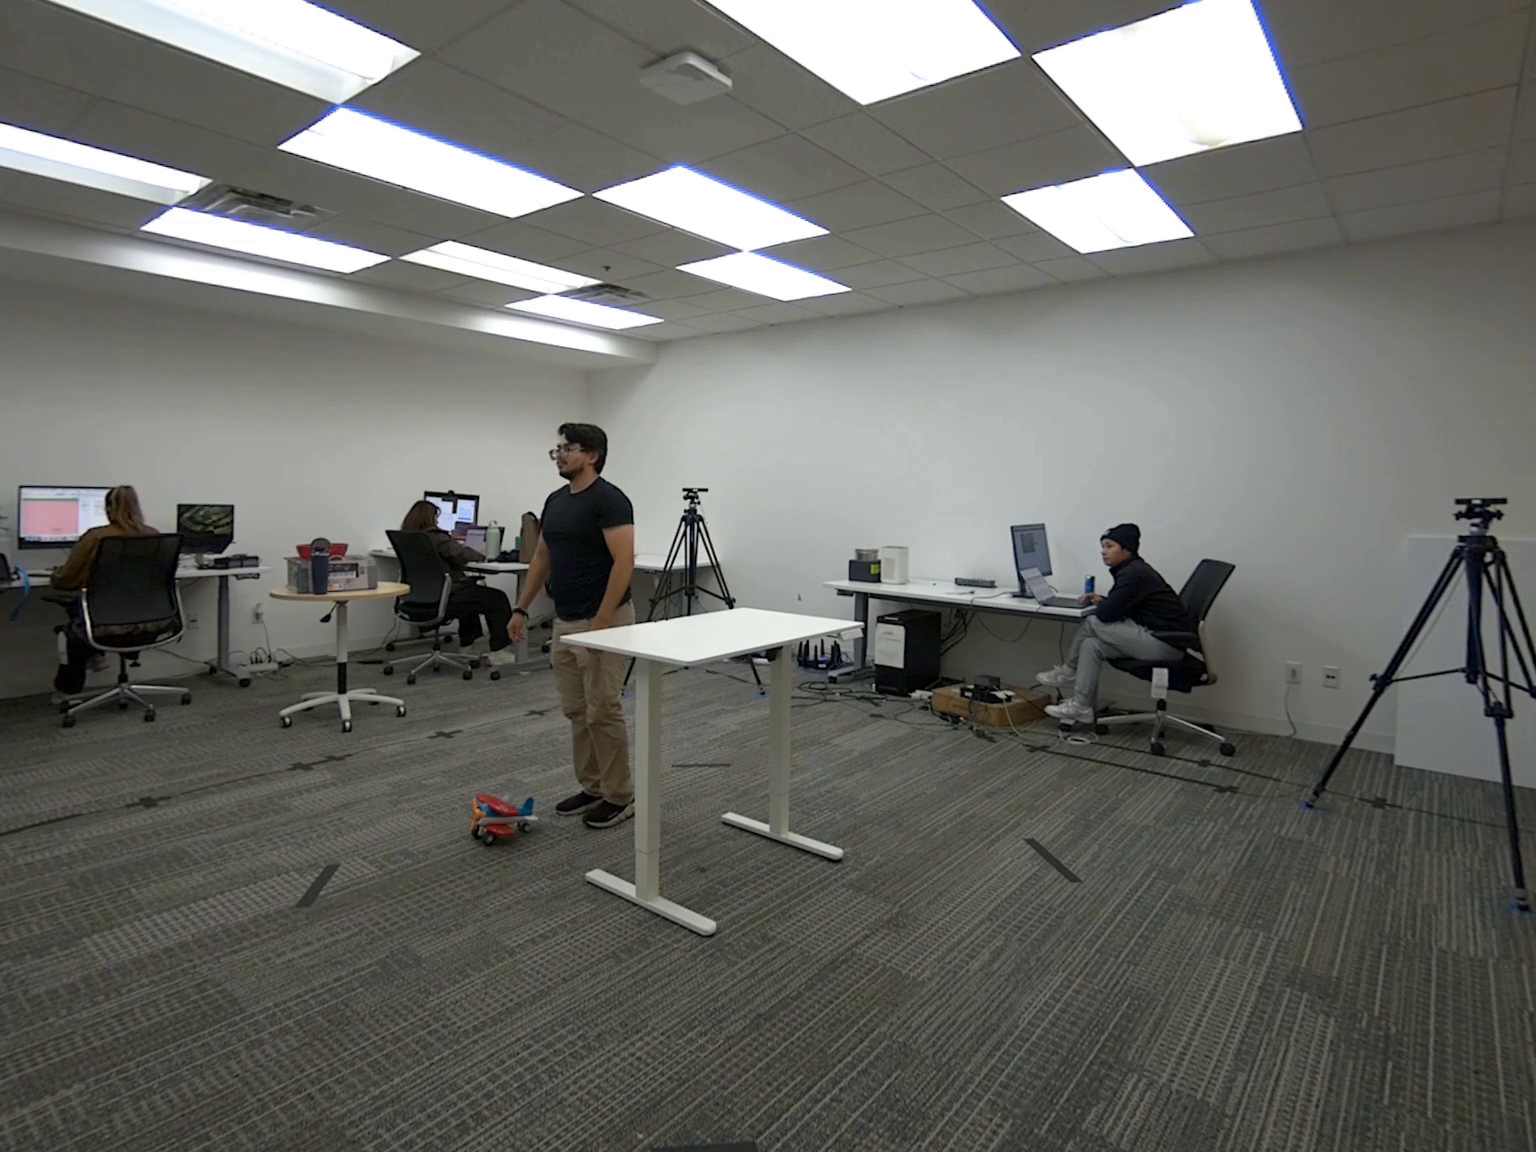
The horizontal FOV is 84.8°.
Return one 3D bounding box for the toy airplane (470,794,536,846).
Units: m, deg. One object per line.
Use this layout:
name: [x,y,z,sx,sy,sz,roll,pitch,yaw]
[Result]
toy airplane: [-1.077,0.957,3.385,0.256,0.156,0.255,3,6,17]
